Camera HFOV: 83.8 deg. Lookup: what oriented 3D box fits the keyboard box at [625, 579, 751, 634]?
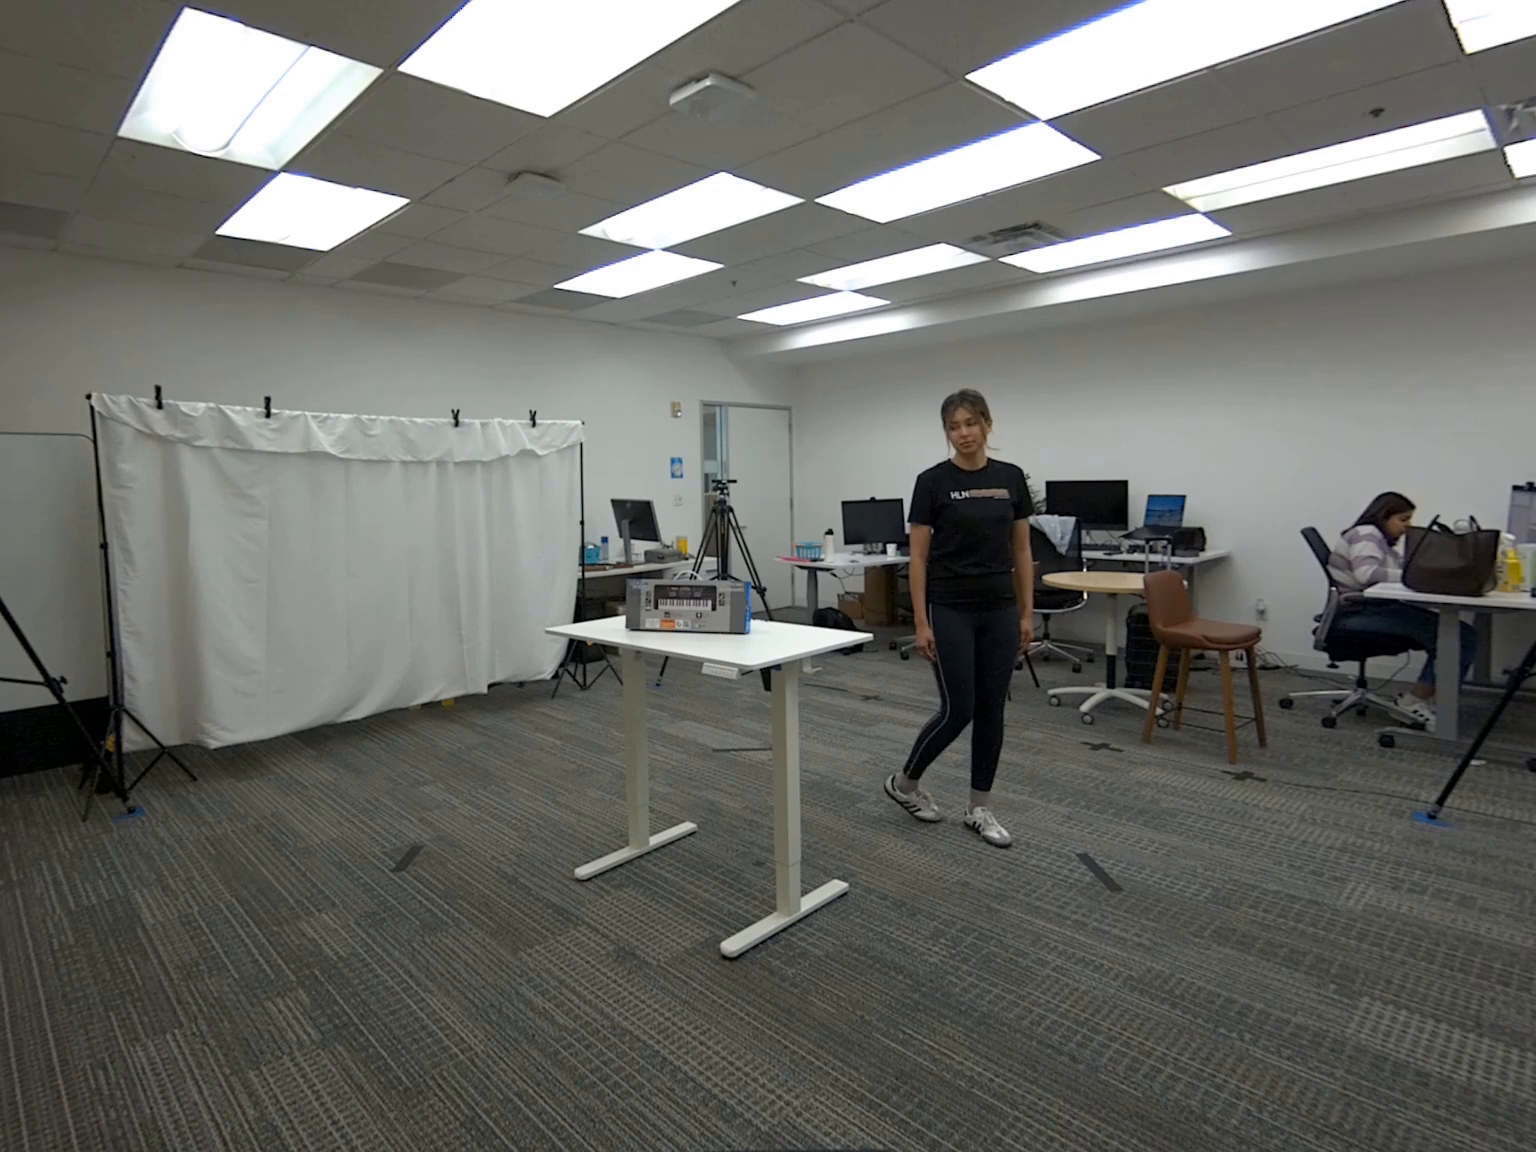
[{"bbox_3d":[-0.275,0.103,2.920,0.444,0.176,0.058,0,-4,18],"label":"keyboard box"}]
